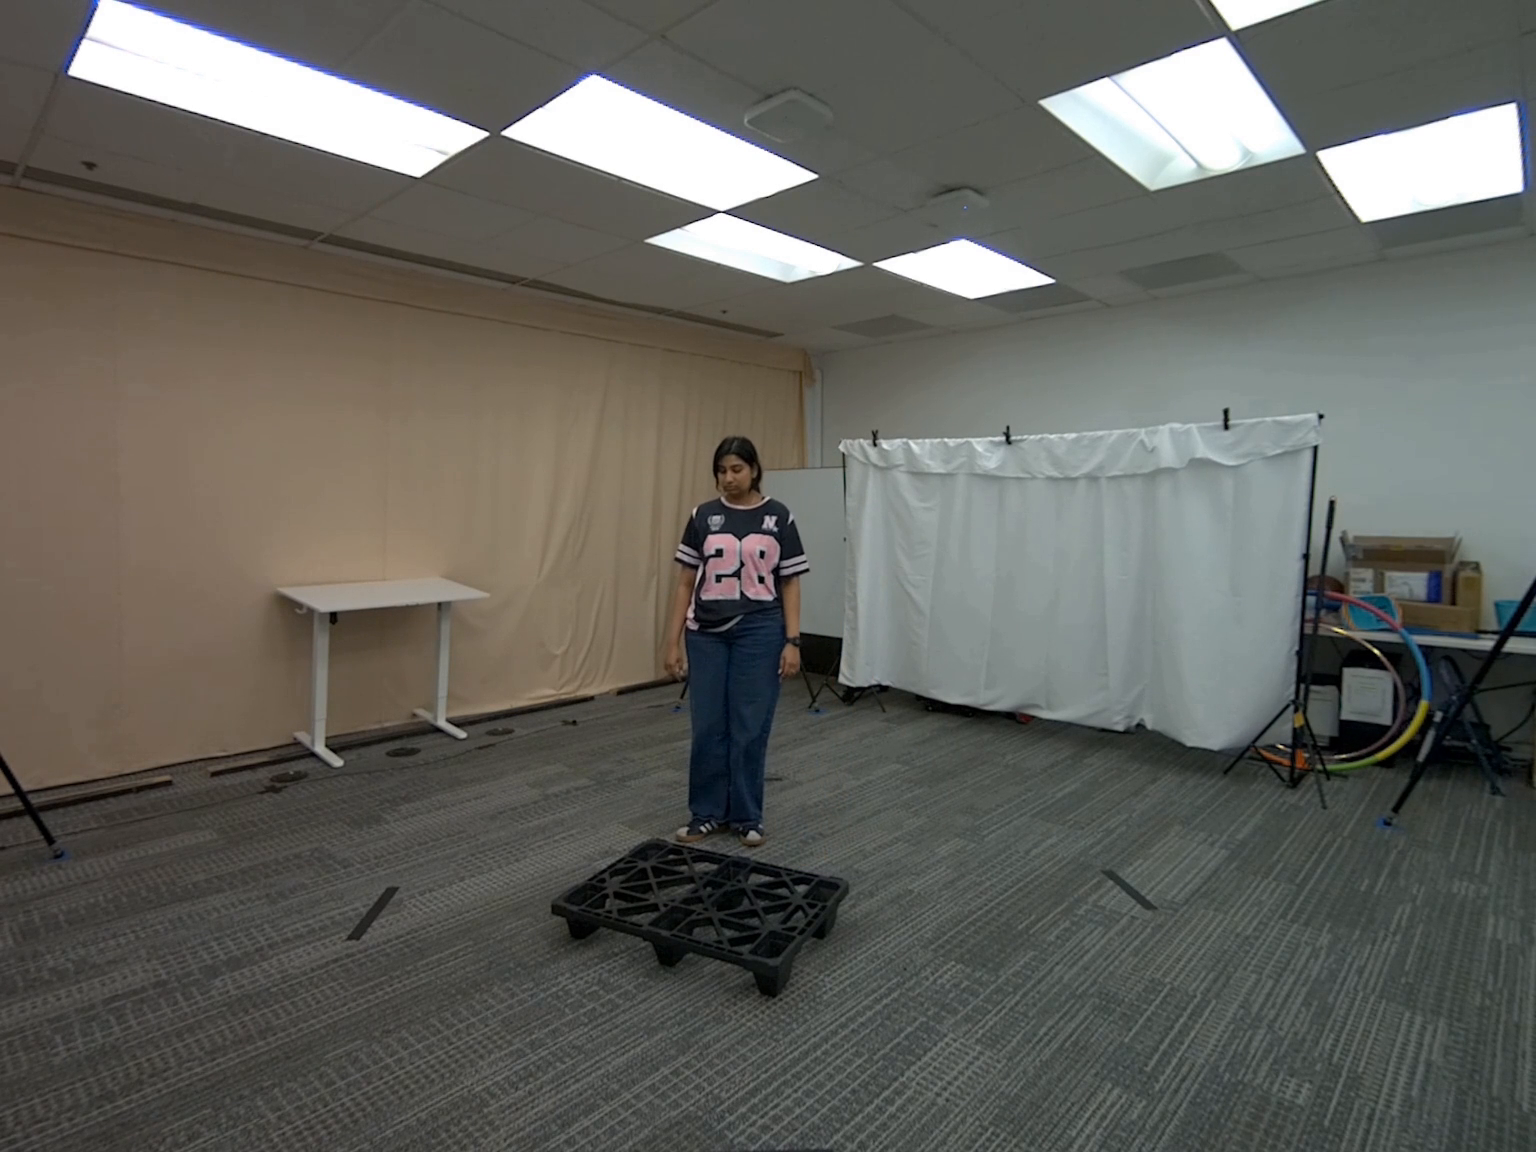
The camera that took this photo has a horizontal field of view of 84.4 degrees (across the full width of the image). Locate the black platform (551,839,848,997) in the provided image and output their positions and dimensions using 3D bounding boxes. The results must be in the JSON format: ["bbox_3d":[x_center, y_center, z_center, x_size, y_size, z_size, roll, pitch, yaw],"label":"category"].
[{"bbox_3d":[-0.211,1.095,2.757,0.828,0.143,0.590,2,5,27],"label":"black platform"}]
